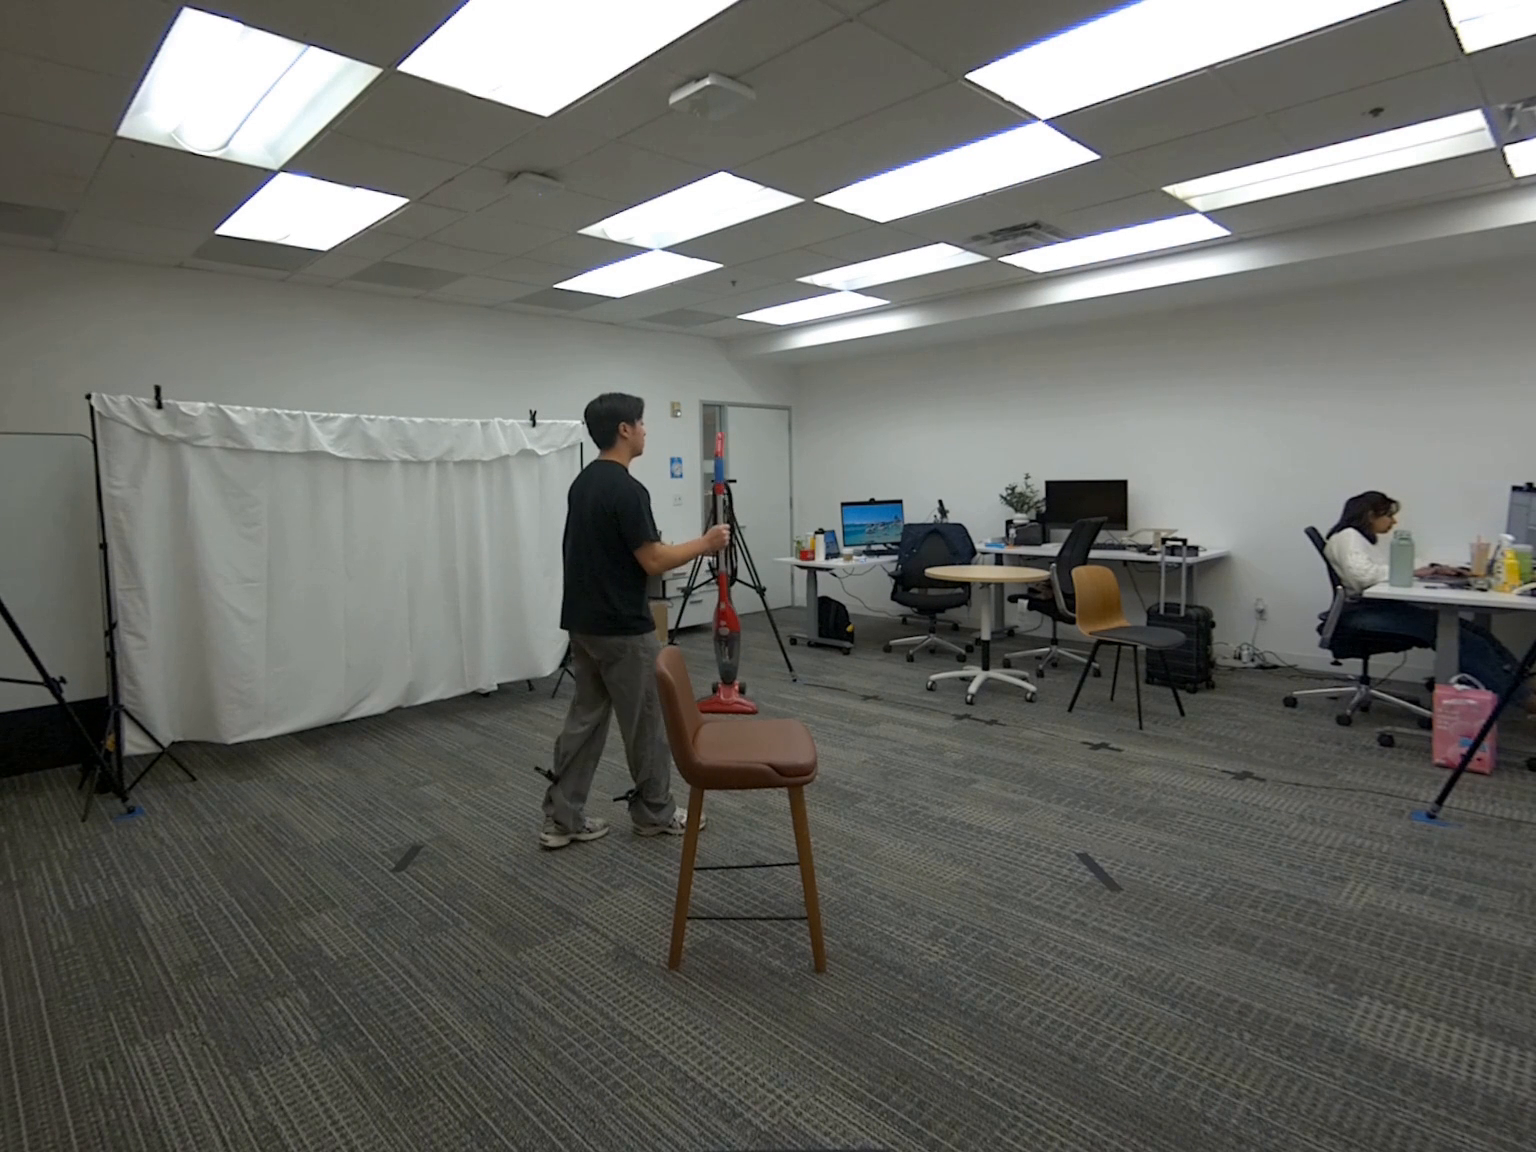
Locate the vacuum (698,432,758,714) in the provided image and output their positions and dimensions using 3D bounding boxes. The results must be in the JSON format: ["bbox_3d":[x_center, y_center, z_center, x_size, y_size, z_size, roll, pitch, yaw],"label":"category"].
[{"bbox_3d":[-0.173,-0.028,3.366,0.254,1.046,0.143,-1,3,5],"label":"vacuum"}]
